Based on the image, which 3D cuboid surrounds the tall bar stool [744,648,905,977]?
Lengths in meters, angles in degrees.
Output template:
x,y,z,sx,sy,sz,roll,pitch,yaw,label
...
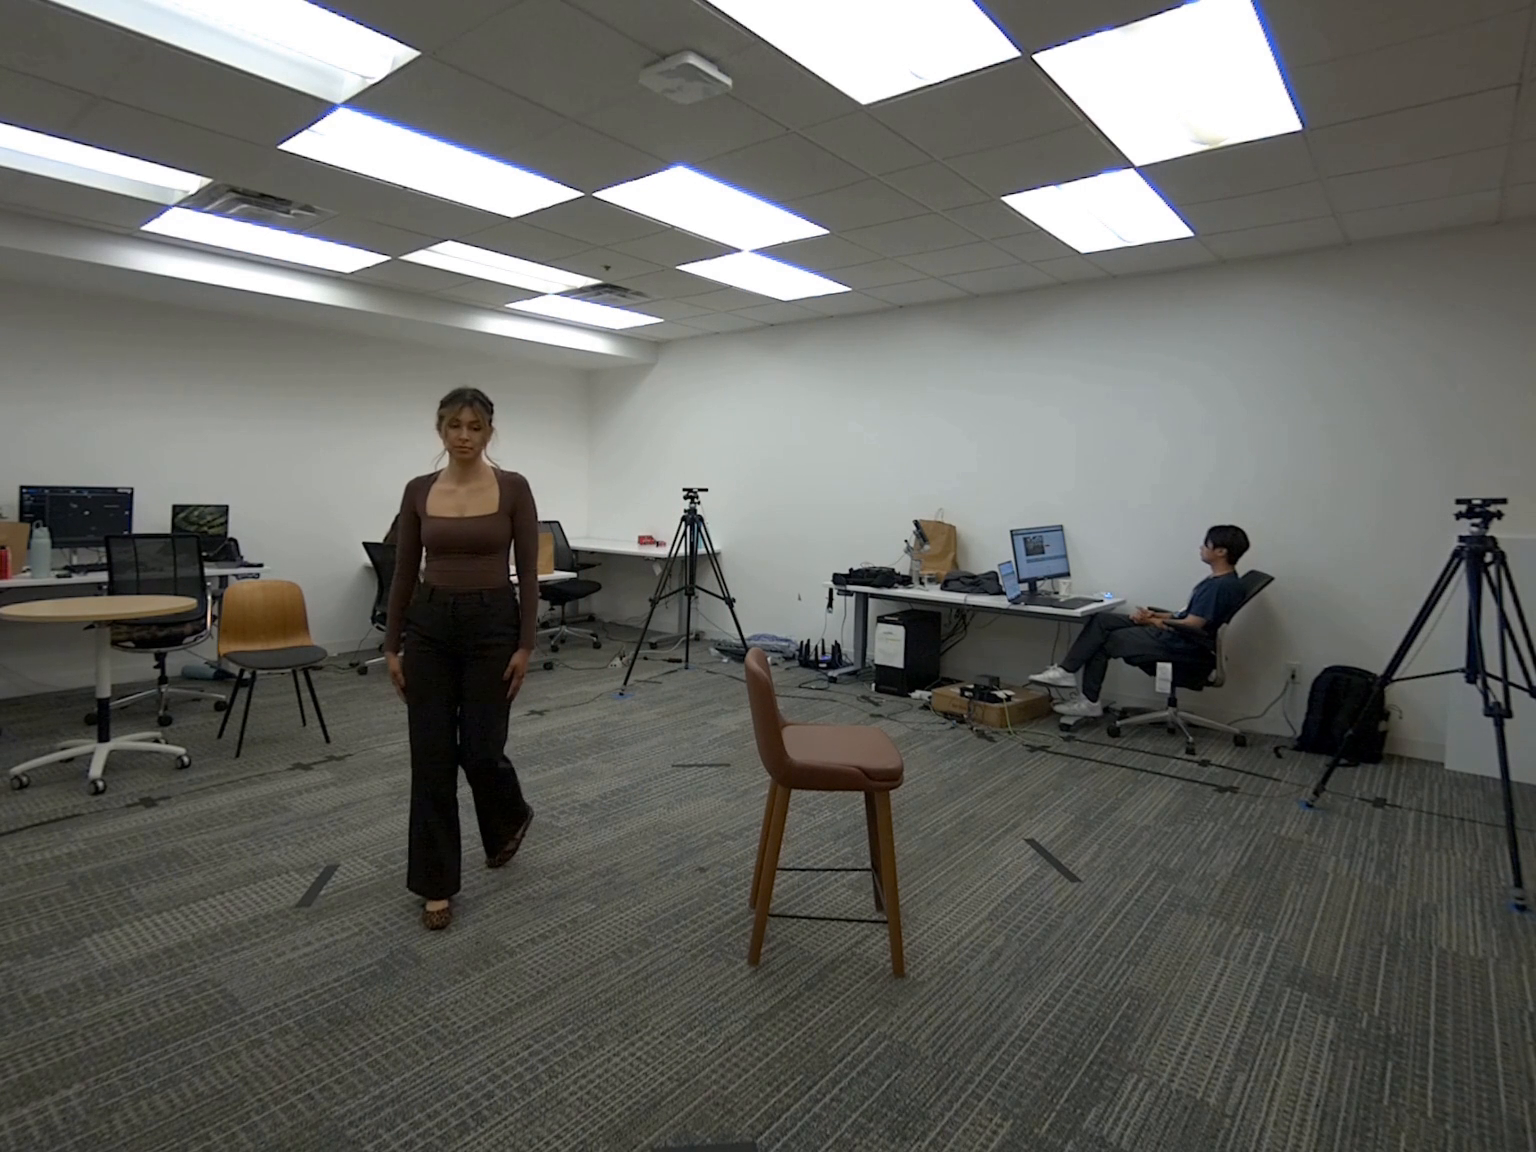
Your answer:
x,y,z,sx,sy,sz,roll,pitch,yaw,label
0.165,0.690,2.630,0.468,0.887,0.457,0,3,0,tall bar stool
